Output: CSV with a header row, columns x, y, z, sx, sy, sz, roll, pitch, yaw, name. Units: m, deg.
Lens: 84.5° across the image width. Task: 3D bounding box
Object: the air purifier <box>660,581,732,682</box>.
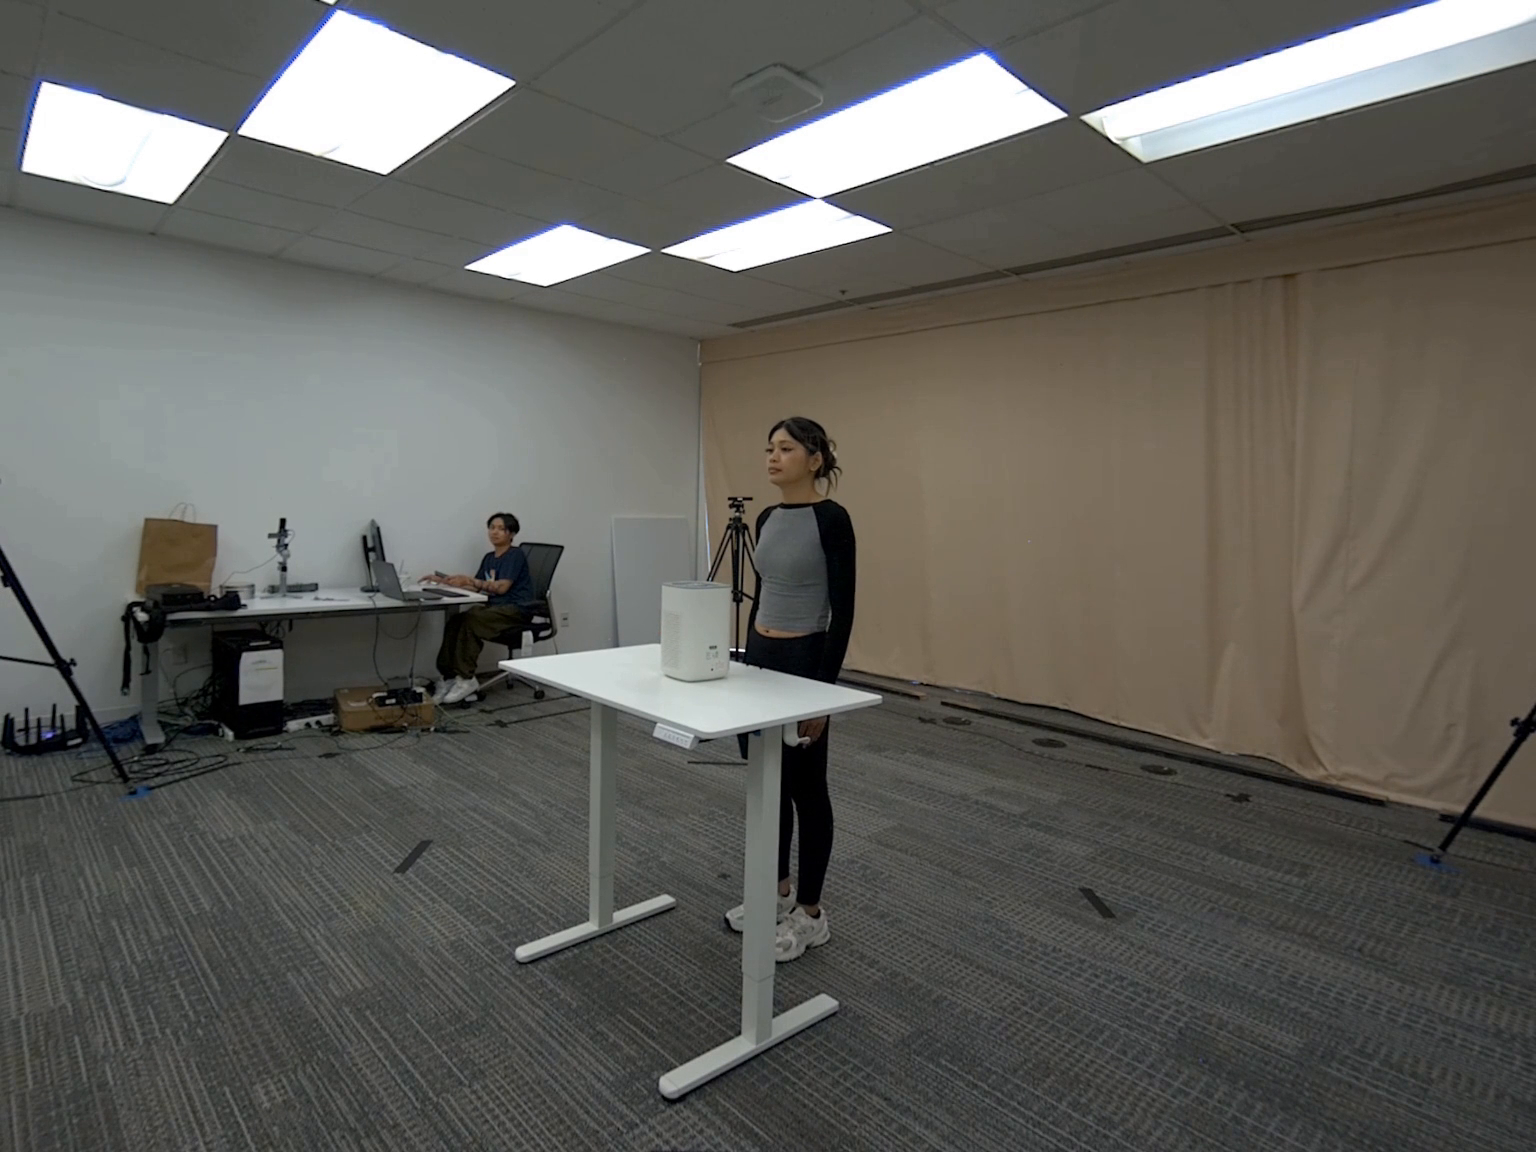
x,y,z,sx,sy,sz,roll,pitch,yaw,name
-0.205,0.154,2.401,0.167,0.265,0.176,0,3,-40,air purifier
